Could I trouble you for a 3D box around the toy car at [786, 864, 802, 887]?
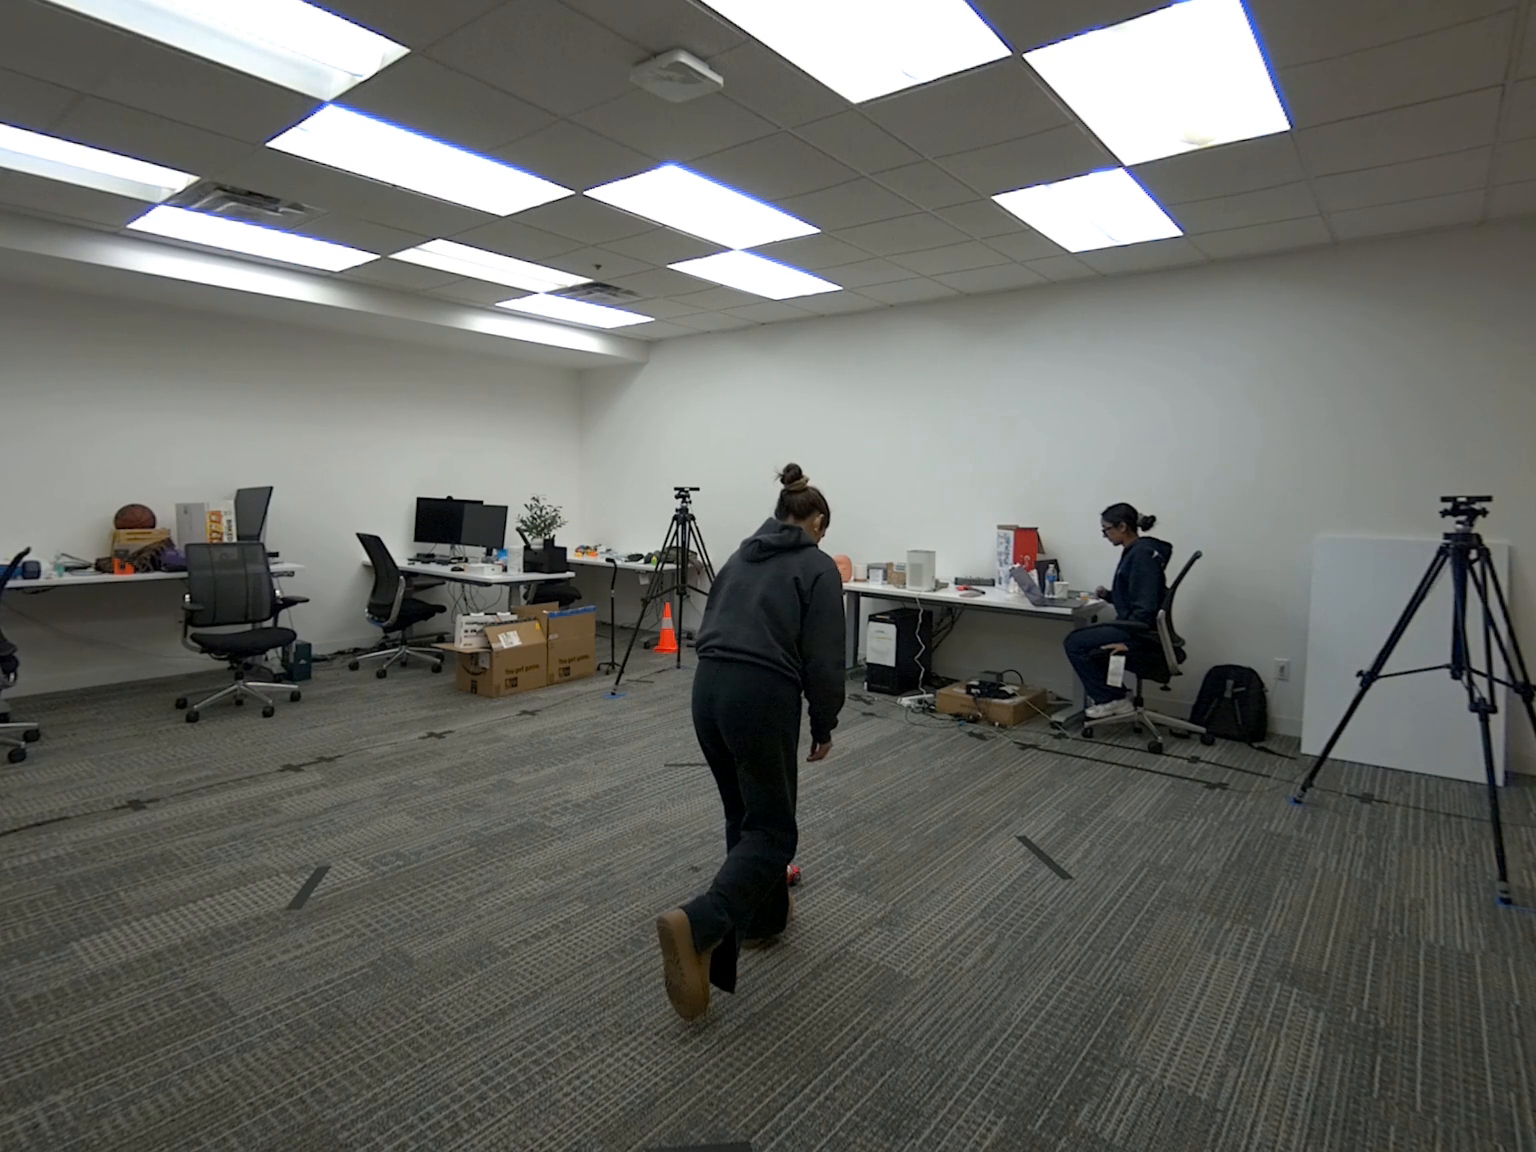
[{"bbox_3d":[0.012,1.052,2.964,0.135,0.083,0.245,6,-4,43],"label":"toy car"}]
